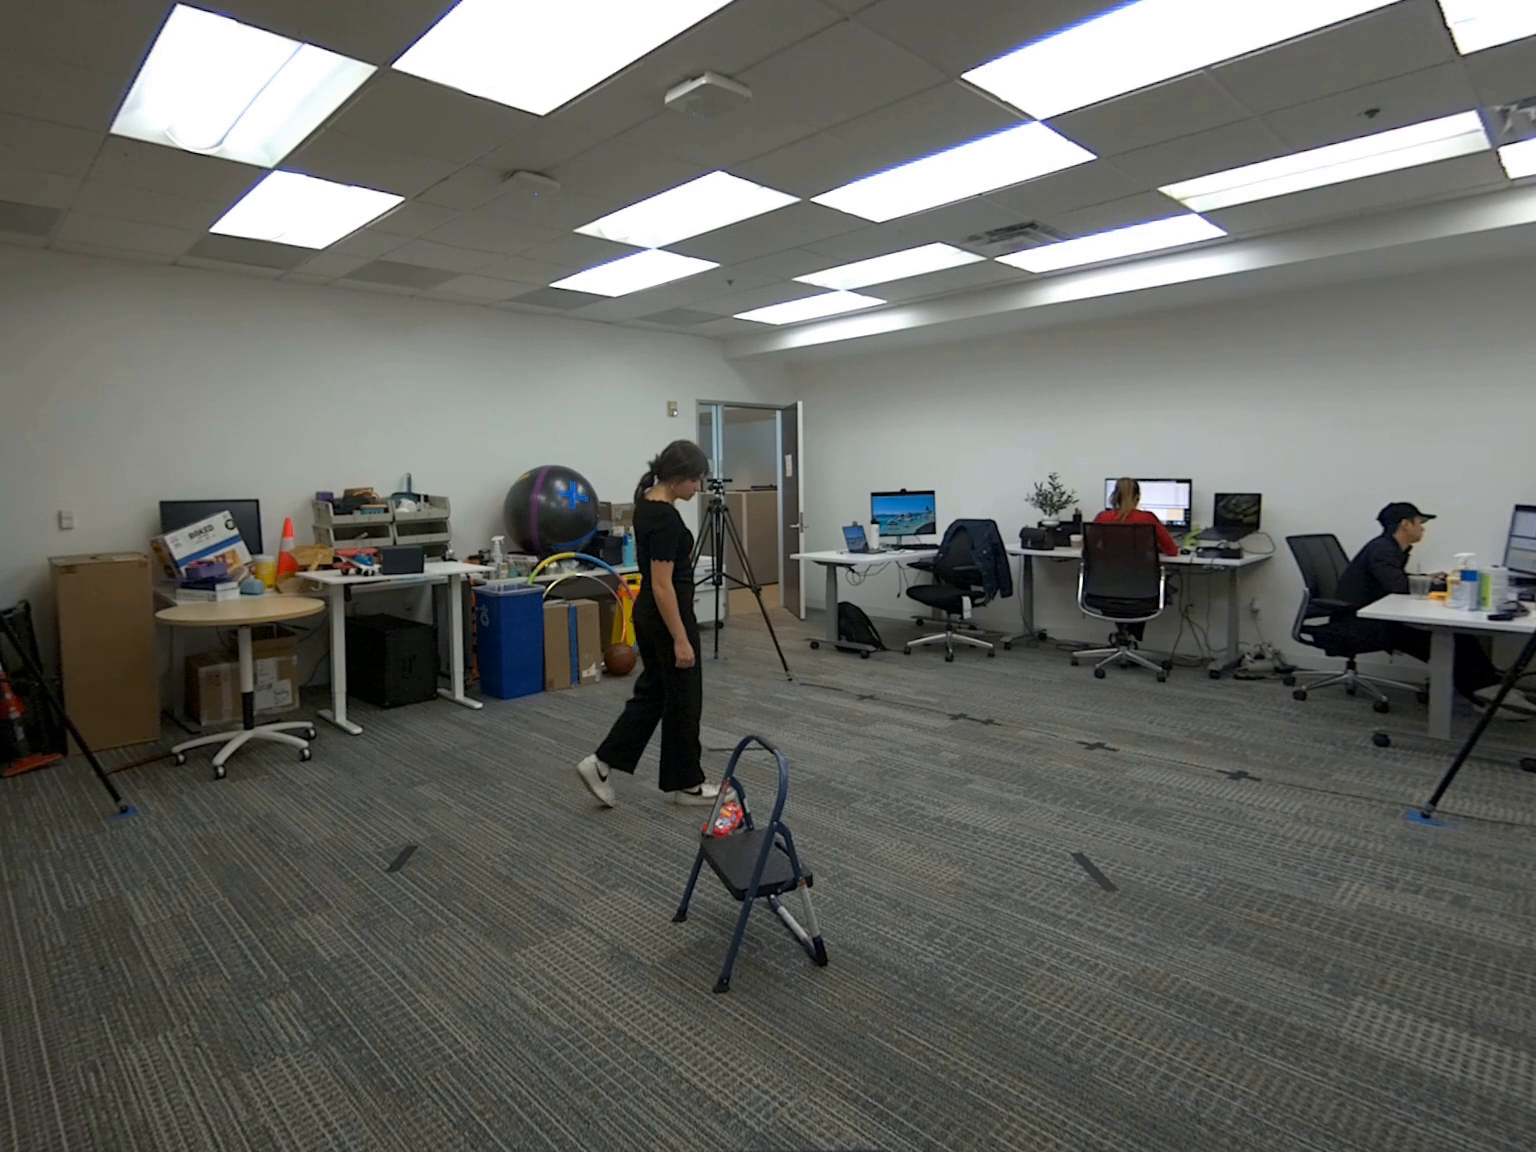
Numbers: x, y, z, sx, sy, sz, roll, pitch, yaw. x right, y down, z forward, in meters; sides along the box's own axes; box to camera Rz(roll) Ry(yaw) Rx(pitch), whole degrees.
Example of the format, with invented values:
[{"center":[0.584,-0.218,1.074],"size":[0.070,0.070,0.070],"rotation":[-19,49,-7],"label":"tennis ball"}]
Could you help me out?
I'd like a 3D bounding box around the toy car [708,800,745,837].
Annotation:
[{"center":[-0.165,0.989,3.420],"size":[0.133,0.082,0.253],"rotation":[-1,16,22],"label":"toy car"}]
